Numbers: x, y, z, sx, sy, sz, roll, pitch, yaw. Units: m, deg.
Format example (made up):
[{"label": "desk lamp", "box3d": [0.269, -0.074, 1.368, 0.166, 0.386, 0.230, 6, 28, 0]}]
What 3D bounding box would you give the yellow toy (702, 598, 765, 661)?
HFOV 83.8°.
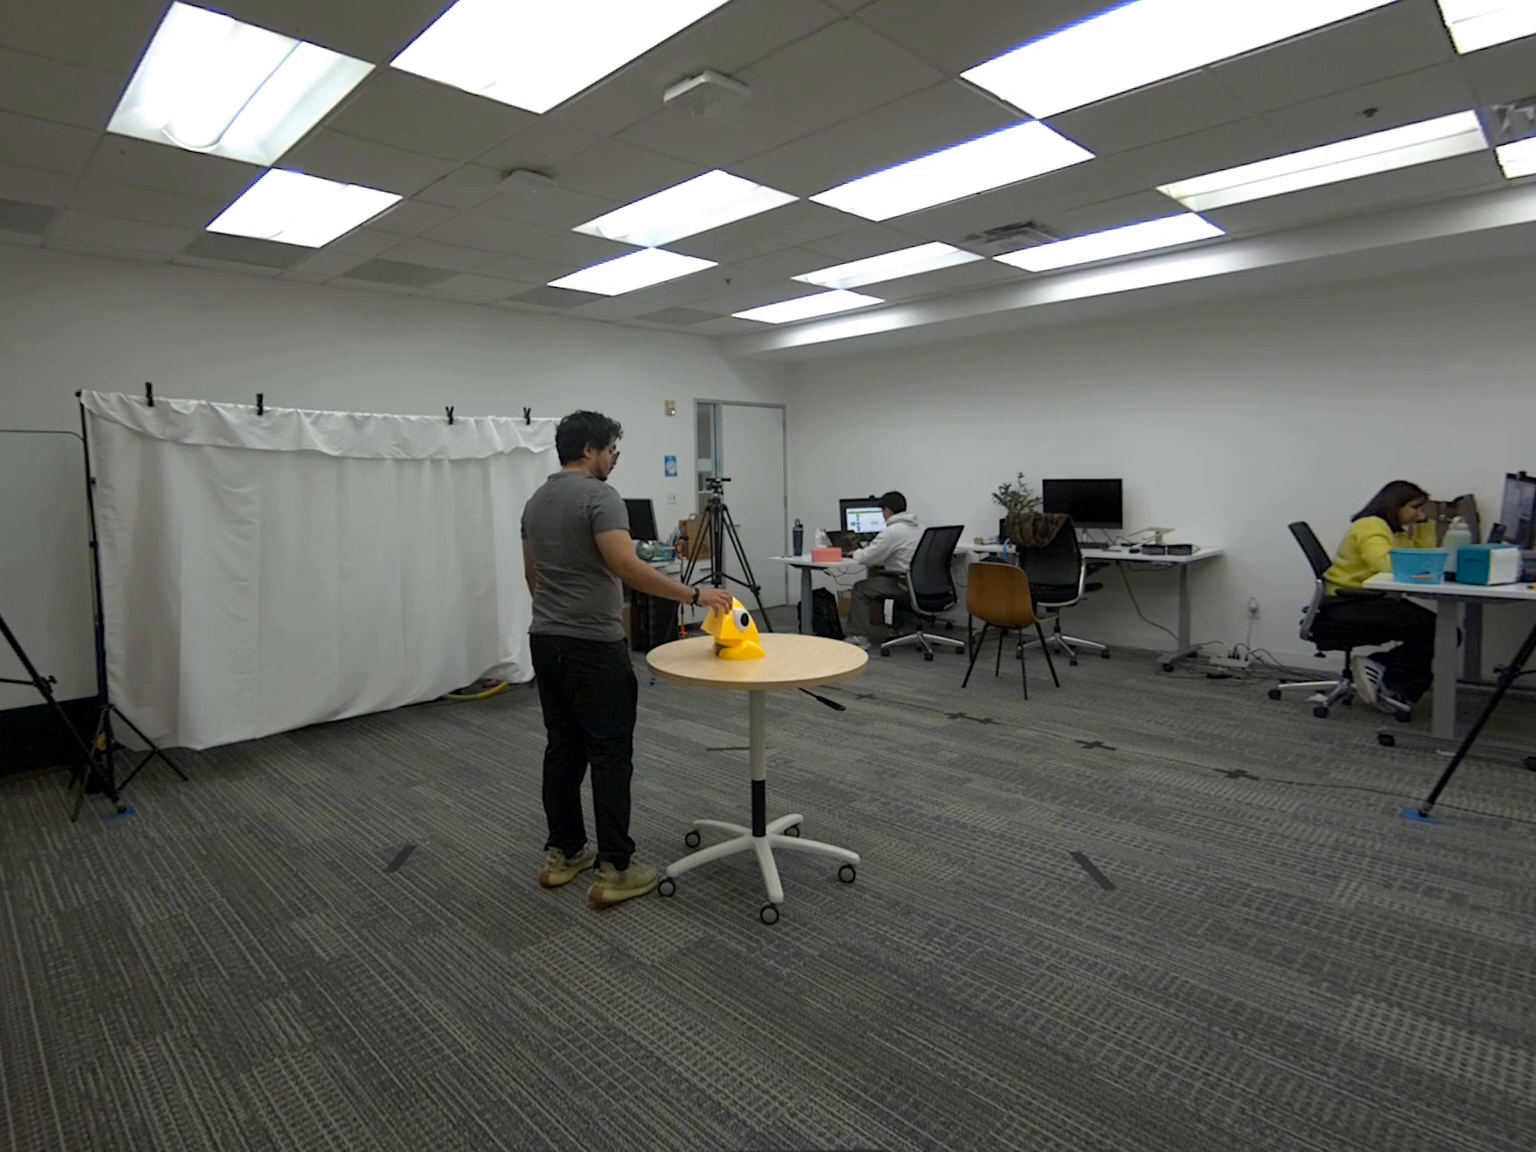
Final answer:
[{"label": "yellow toy", "box3d": [-0.116, 0.156, 2.982, 0.189, 0.230, 0.210, -2, 5, -23]}]
